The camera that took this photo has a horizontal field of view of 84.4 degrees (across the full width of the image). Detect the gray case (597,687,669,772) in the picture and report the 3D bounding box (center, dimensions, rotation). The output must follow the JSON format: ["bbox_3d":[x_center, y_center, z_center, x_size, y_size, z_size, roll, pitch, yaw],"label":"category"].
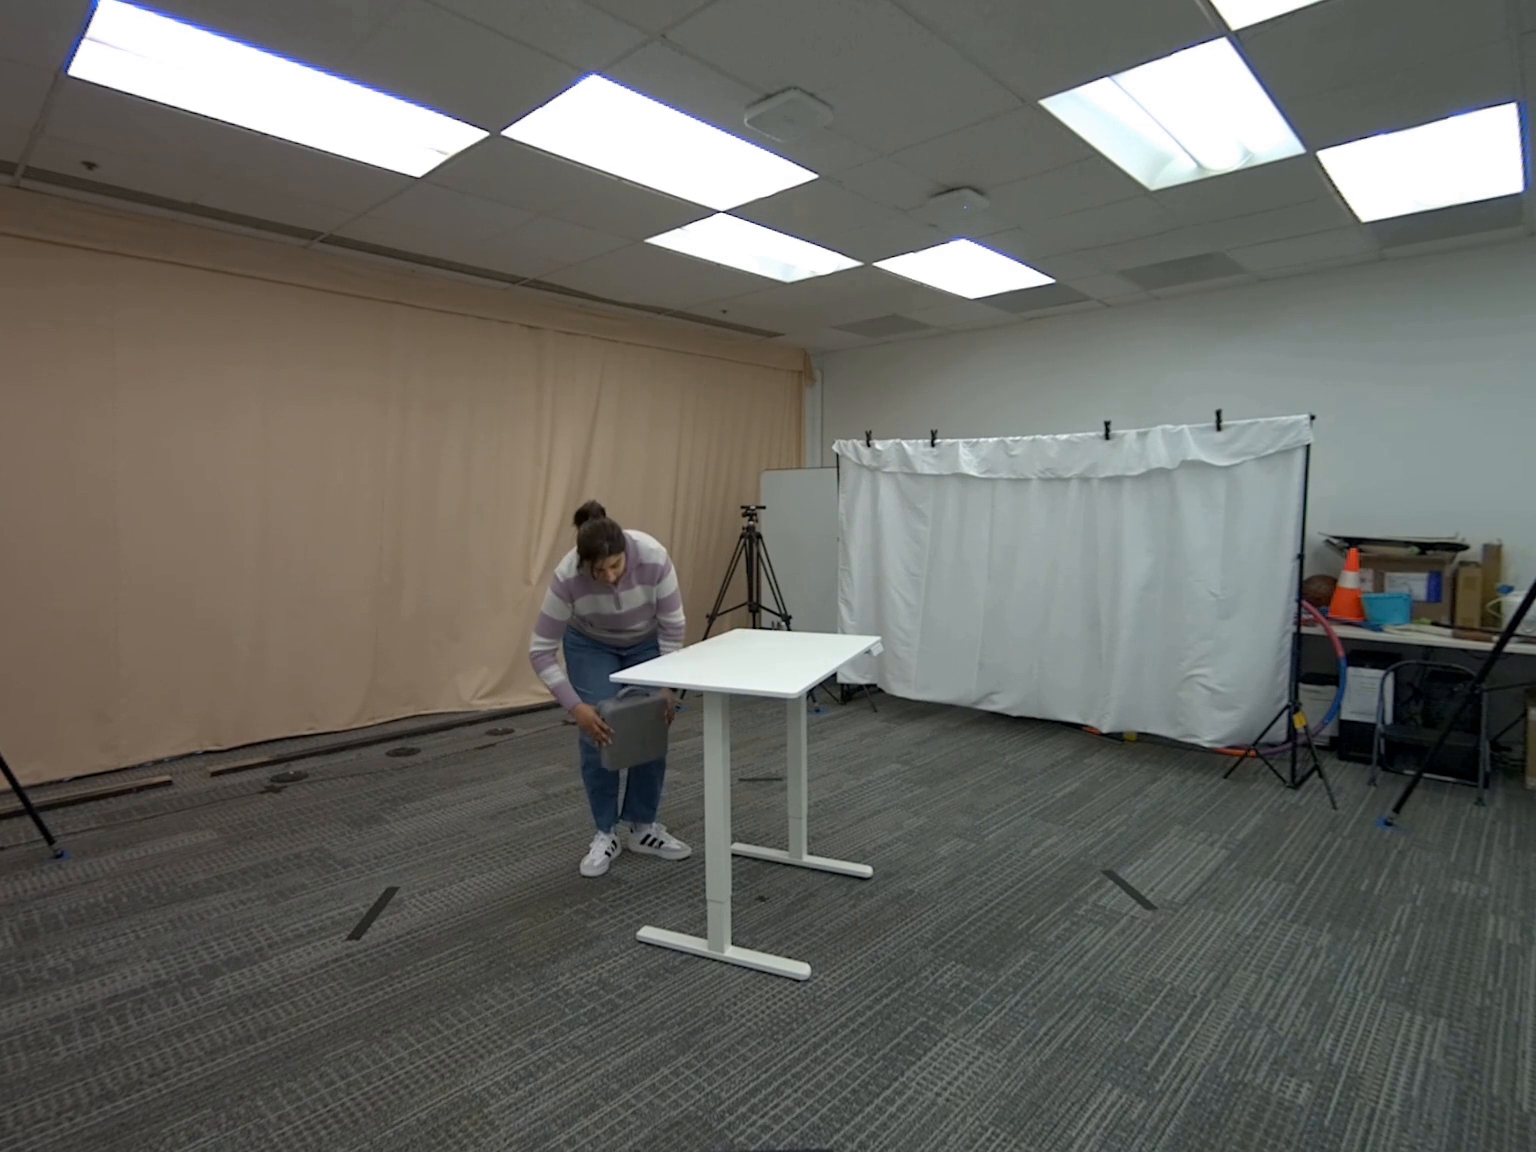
[{"bbox_3d":[-0.490,0.549,3.055,0.250,0.258,0.108,-8,17,-33],"label":"gray case"}]
